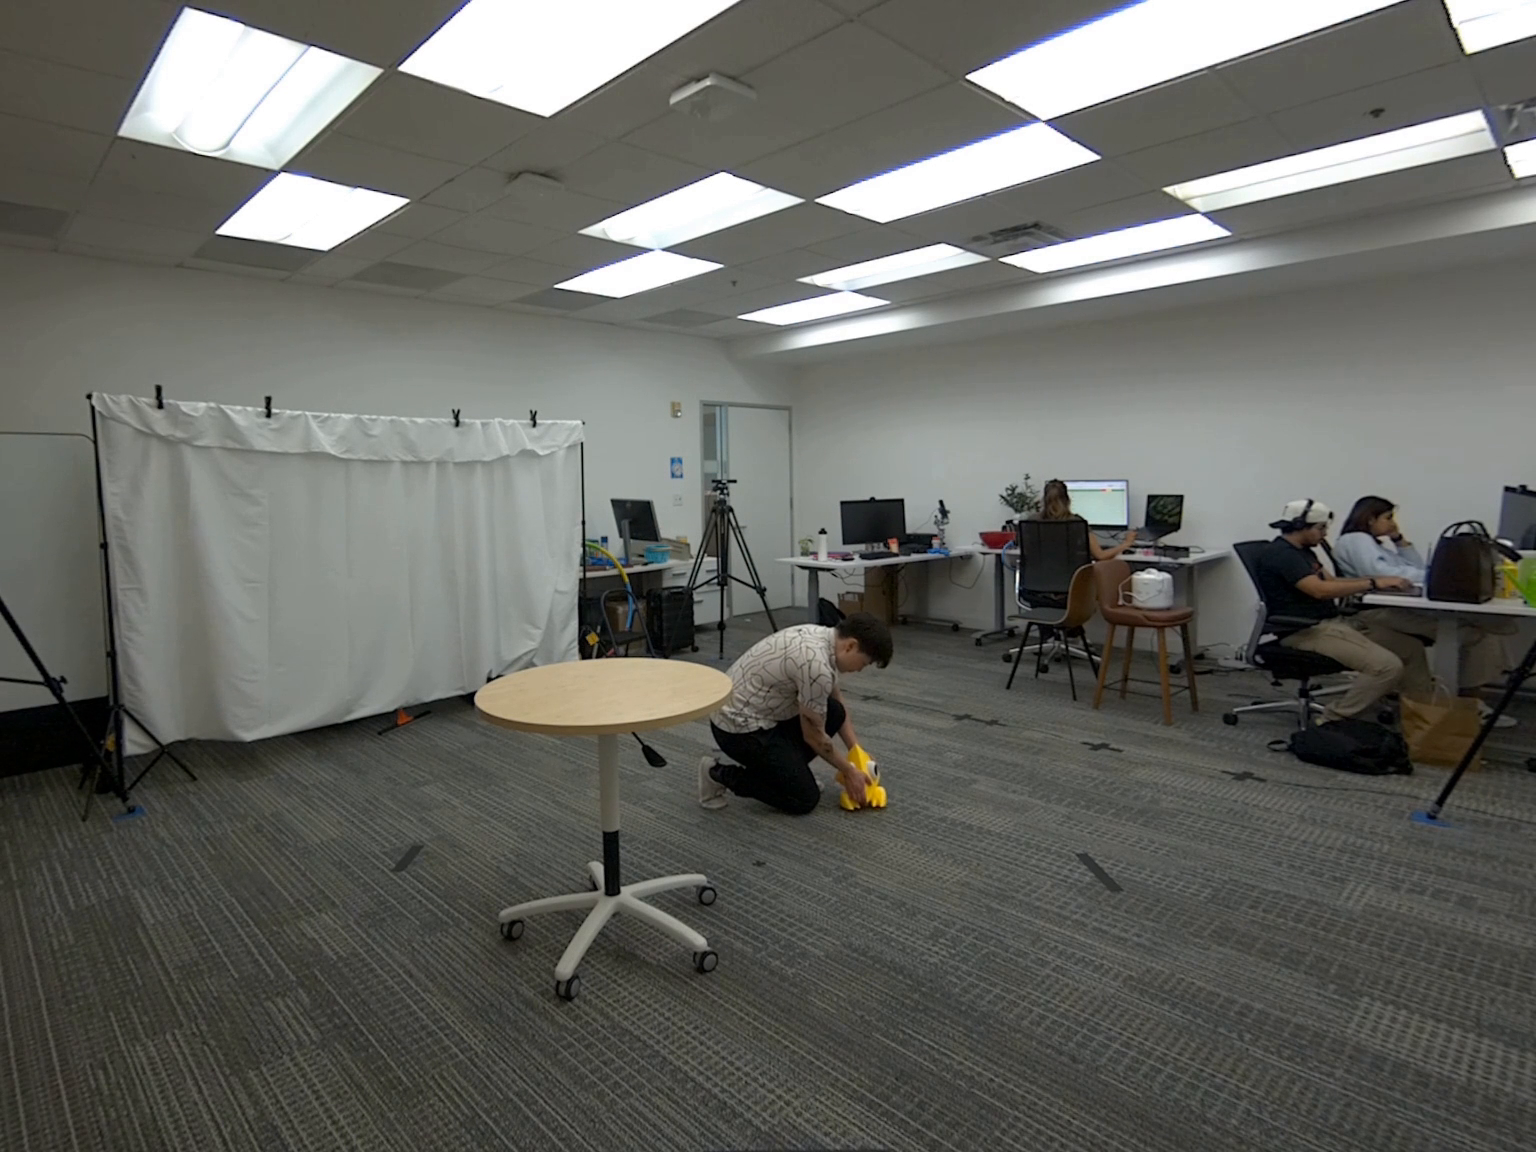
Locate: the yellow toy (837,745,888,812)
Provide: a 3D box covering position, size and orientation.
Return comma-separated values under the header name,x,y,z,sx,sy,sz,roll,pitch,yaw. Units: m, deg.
name,x,y,z,sx,sy,sz,roll,pitch,yaw
yellow toy,0.394,0.845,3.645,0.204,0.230,0.194,-5,2,-3
